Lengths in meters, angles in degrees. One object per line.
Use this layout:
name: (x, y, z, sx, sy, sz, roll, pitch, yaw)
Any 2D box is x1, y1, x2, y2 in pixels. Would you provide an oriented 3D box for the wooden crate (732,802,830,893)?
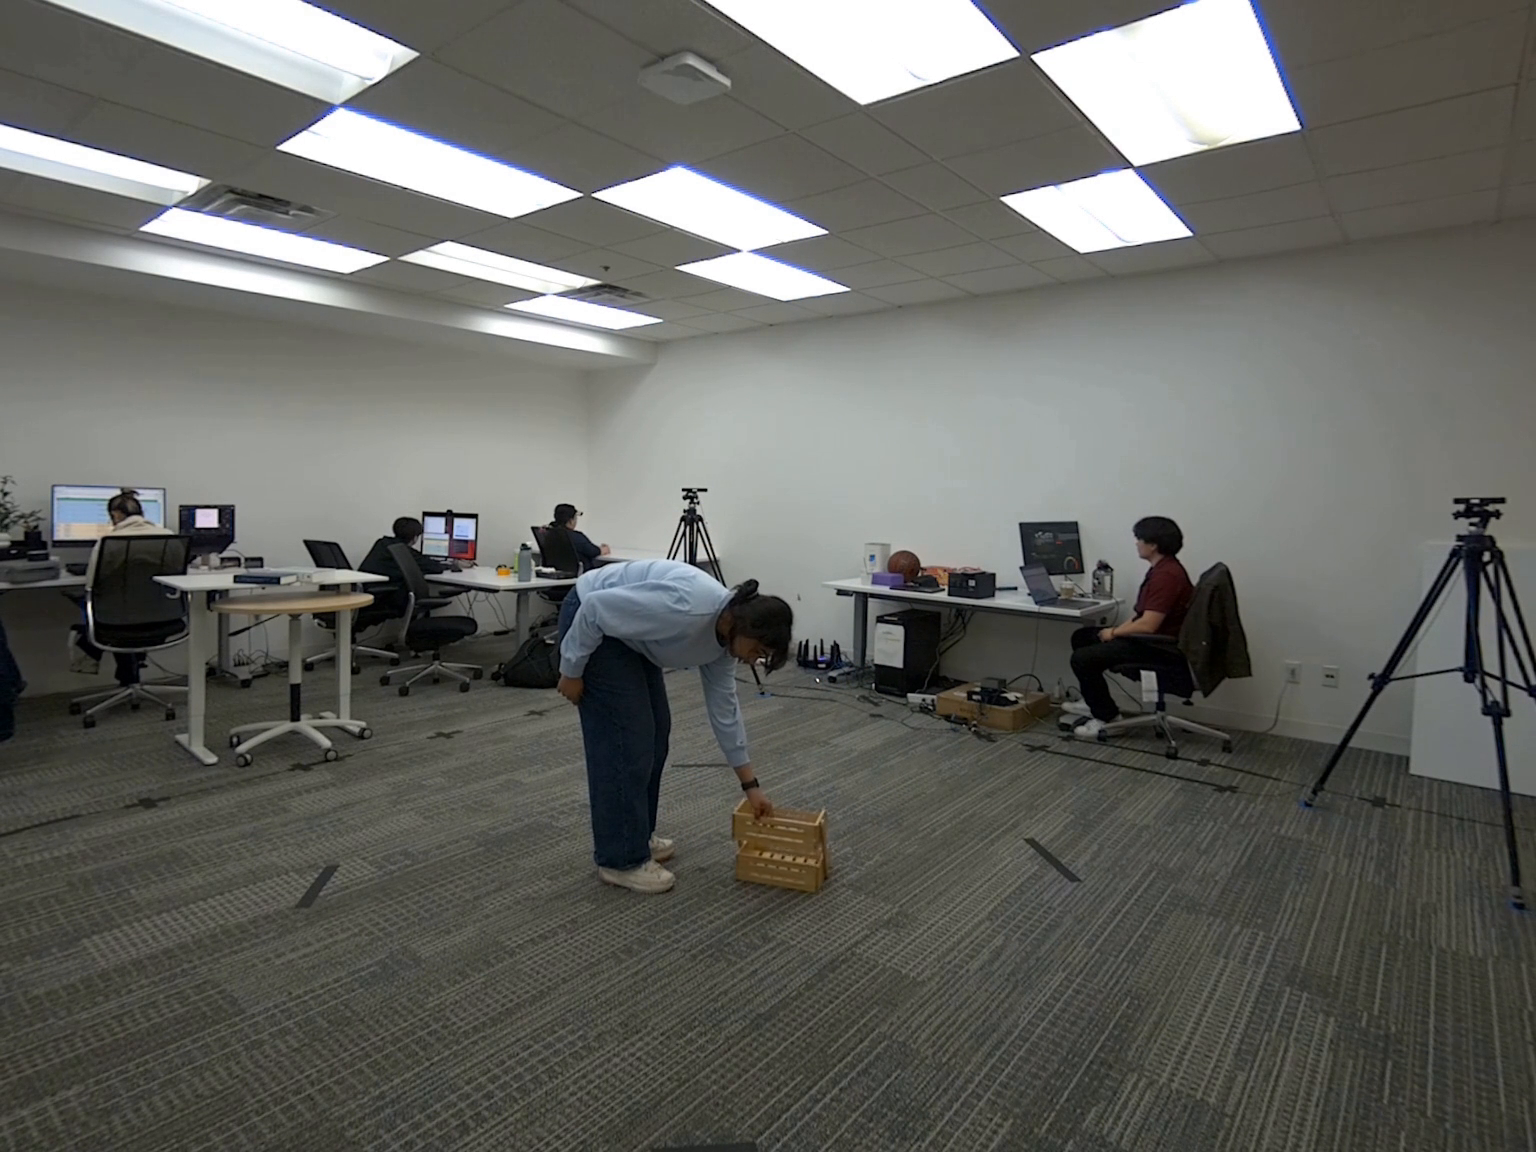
wooden crate: (0.044, 0.948, 3.076, 0.330, 0.272, 0.298, 3, 6, 16)
